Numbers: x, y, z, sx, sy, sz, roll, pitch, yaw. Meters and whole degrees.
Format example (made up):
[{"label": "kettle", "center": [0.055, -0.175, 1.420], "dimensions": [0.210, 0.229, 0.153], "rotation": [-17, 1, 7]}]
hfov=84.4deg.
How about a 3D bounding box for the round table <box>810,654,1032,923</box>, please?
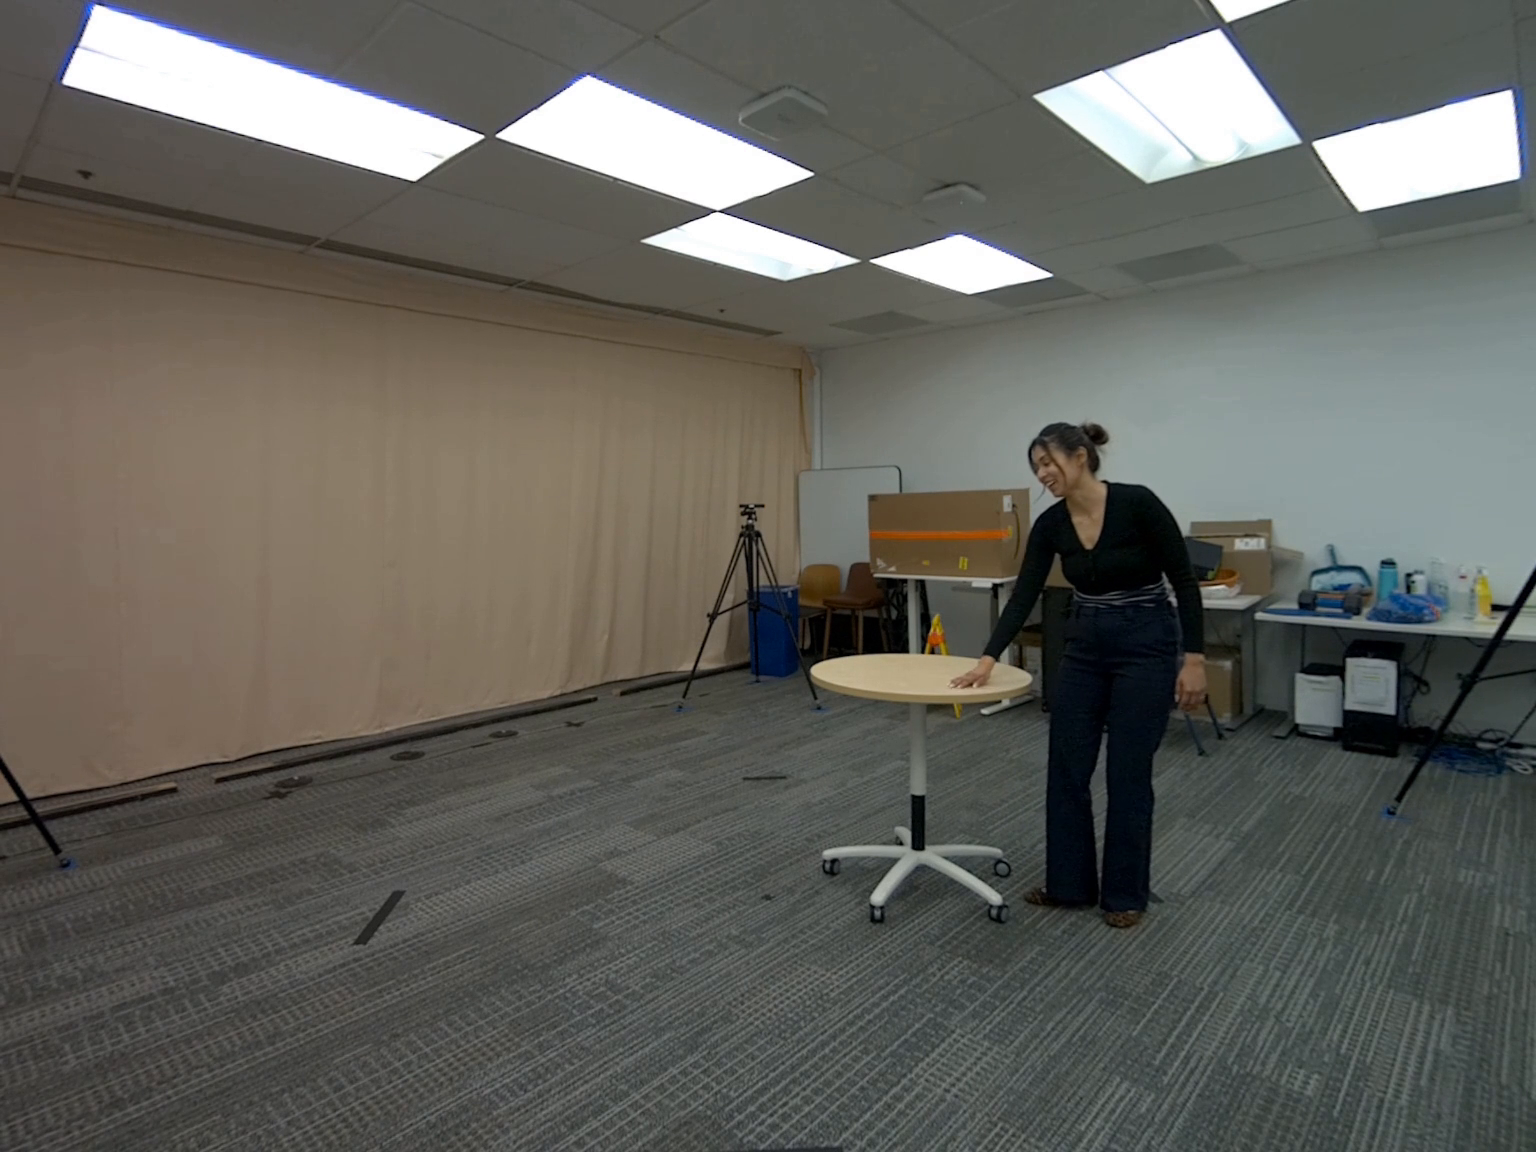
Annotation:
[{"label": "round table", "center": [0.543, 0.738, 3.025], "dimensions": [0.763, 0.792, 0.766], "rotation": [0, 4, -2]}]
